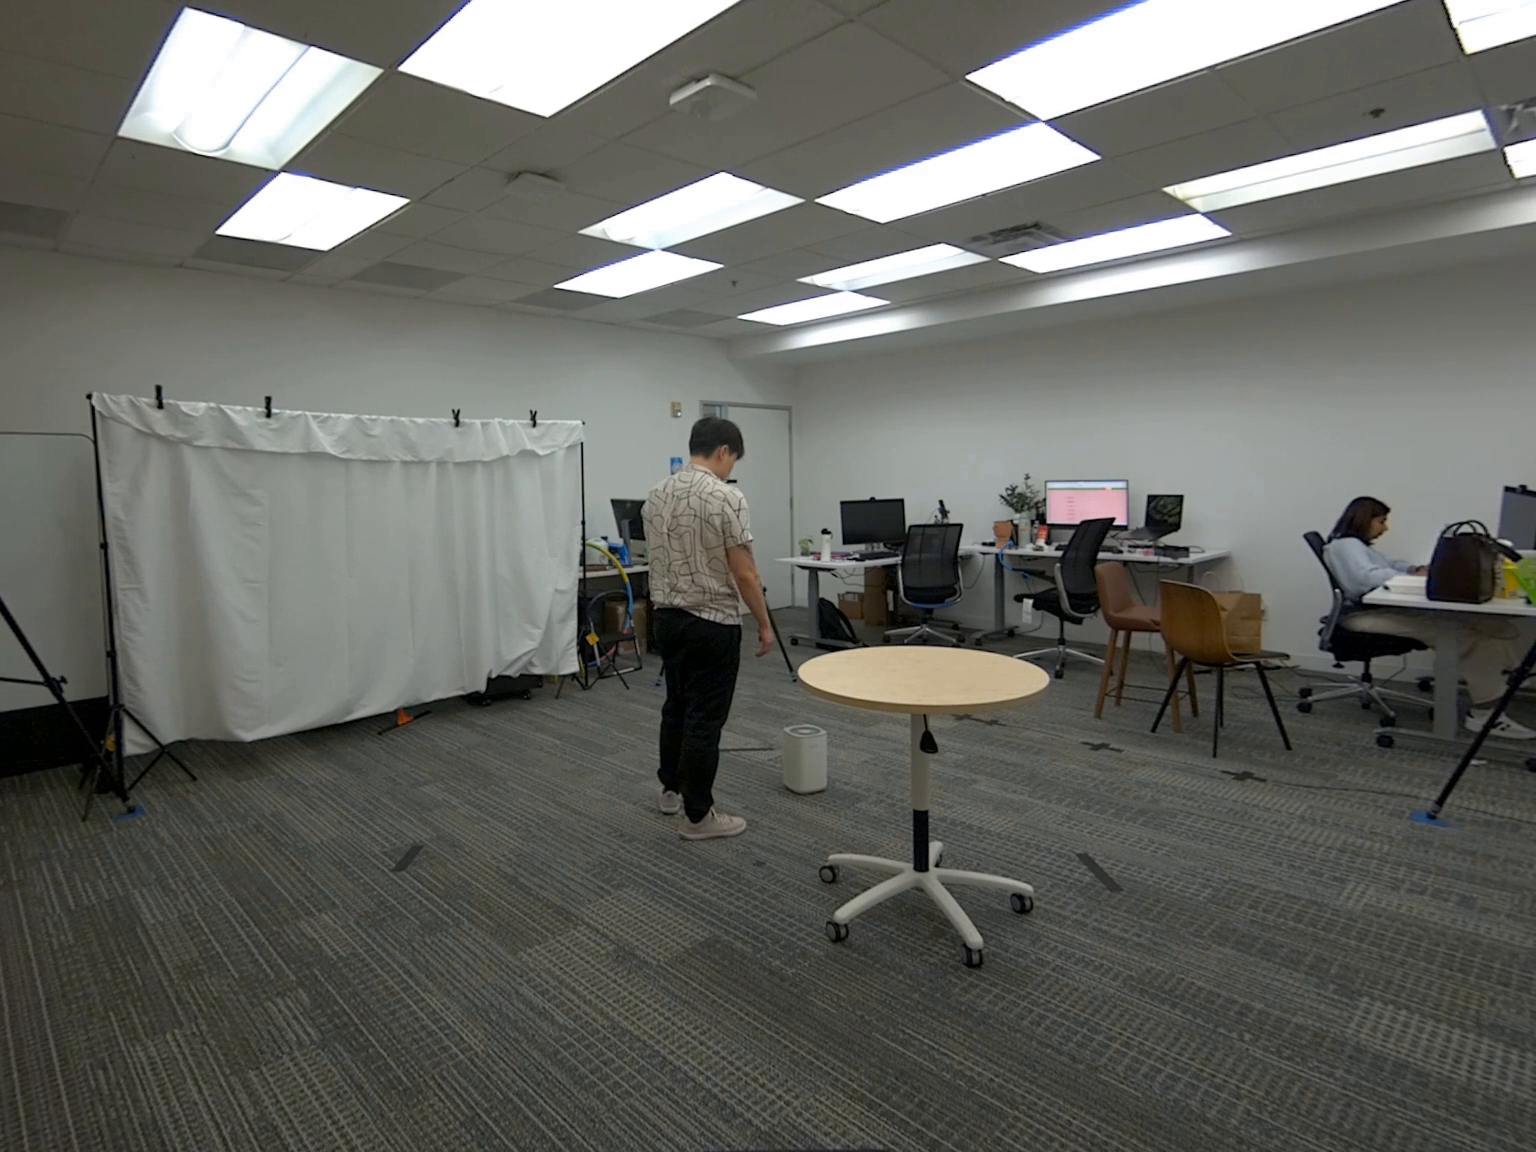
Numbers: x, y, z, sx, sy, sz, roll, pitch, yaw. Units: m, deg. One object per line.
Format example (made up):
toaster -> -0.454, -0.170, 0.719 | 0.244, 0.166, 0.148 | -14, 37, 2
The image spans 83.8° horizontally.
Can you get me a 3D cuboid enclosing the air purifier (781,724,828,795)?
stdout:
air purifier -> 0.166, 0.824, 3.854 | 0.167, 0.264, 0.176 | -3, 5, -29
